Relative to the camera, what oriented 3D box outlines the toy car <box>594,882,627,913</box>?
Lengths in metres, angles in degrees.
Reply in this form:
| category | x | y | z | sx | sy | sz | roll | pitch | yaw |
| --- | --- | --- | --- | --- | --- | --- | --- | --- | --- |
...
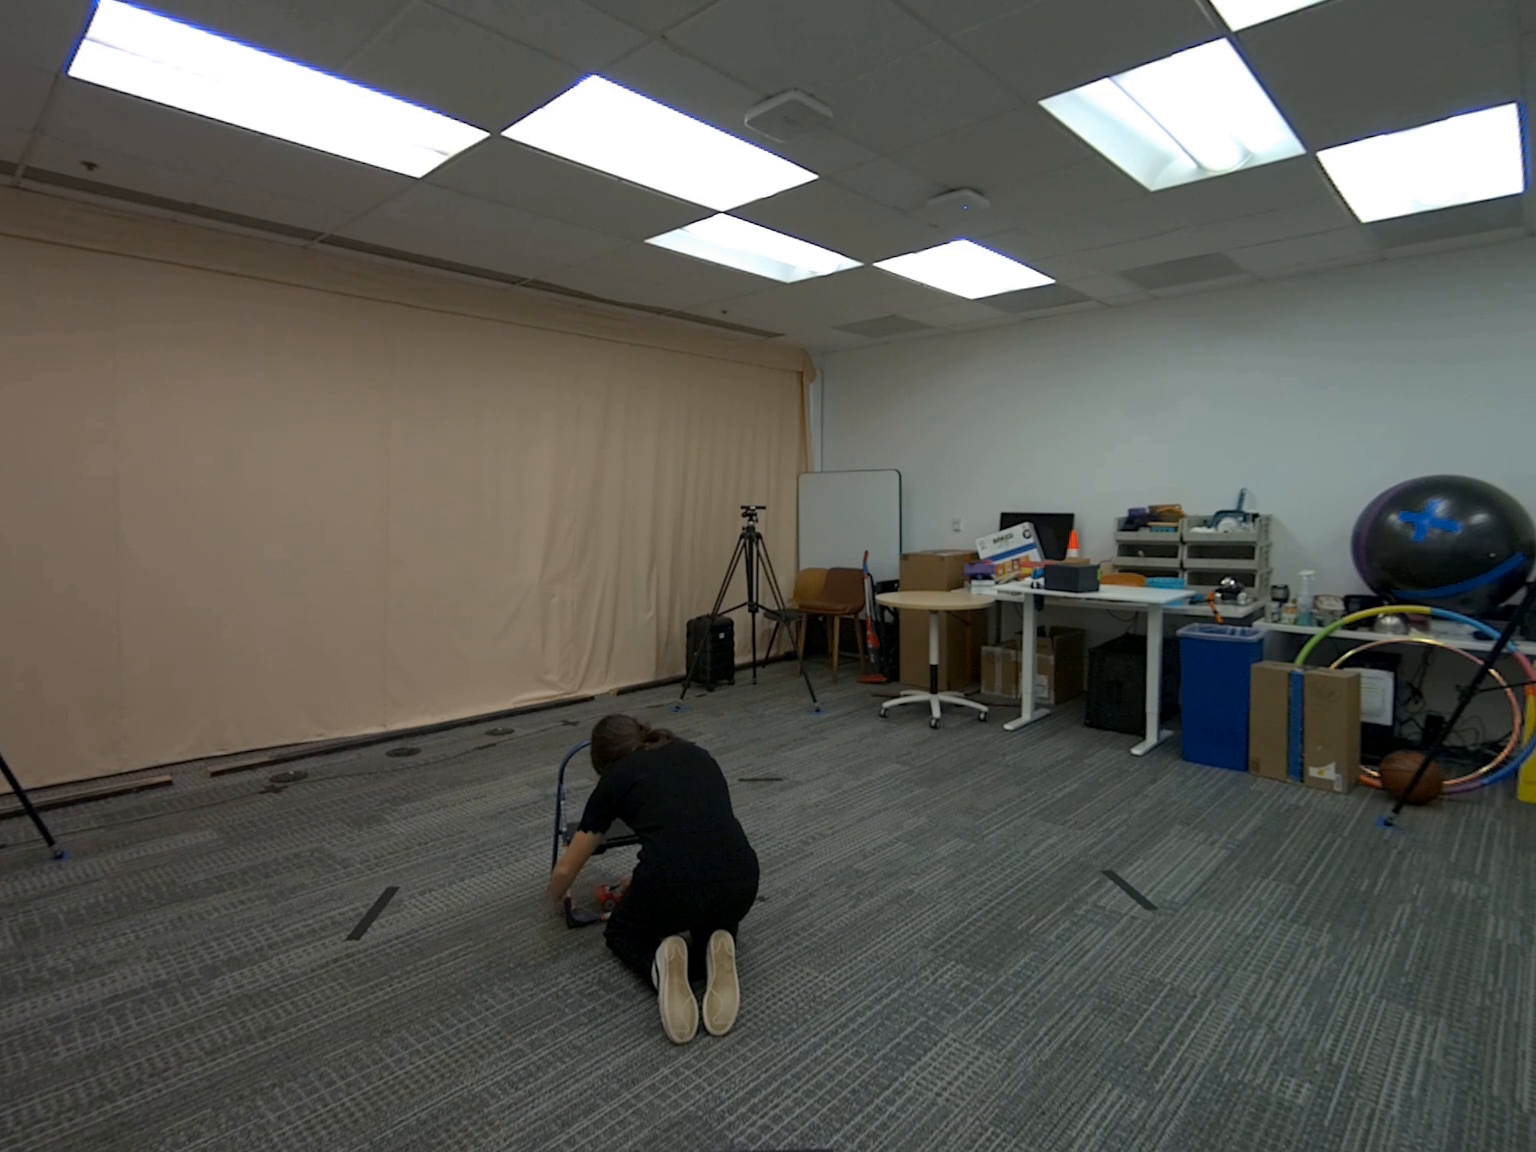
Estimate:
| category | x | y | z | sx | sy | sz | roll | pitch | yaw |
| --- | --- | --- | --- | --- | --- | --- | --- | --- | --- |
| toy car | -0.477 | 1.135 | 2.988 | 0.251 | 0.083 | 0.132 | -10 | 5 | -14 |
